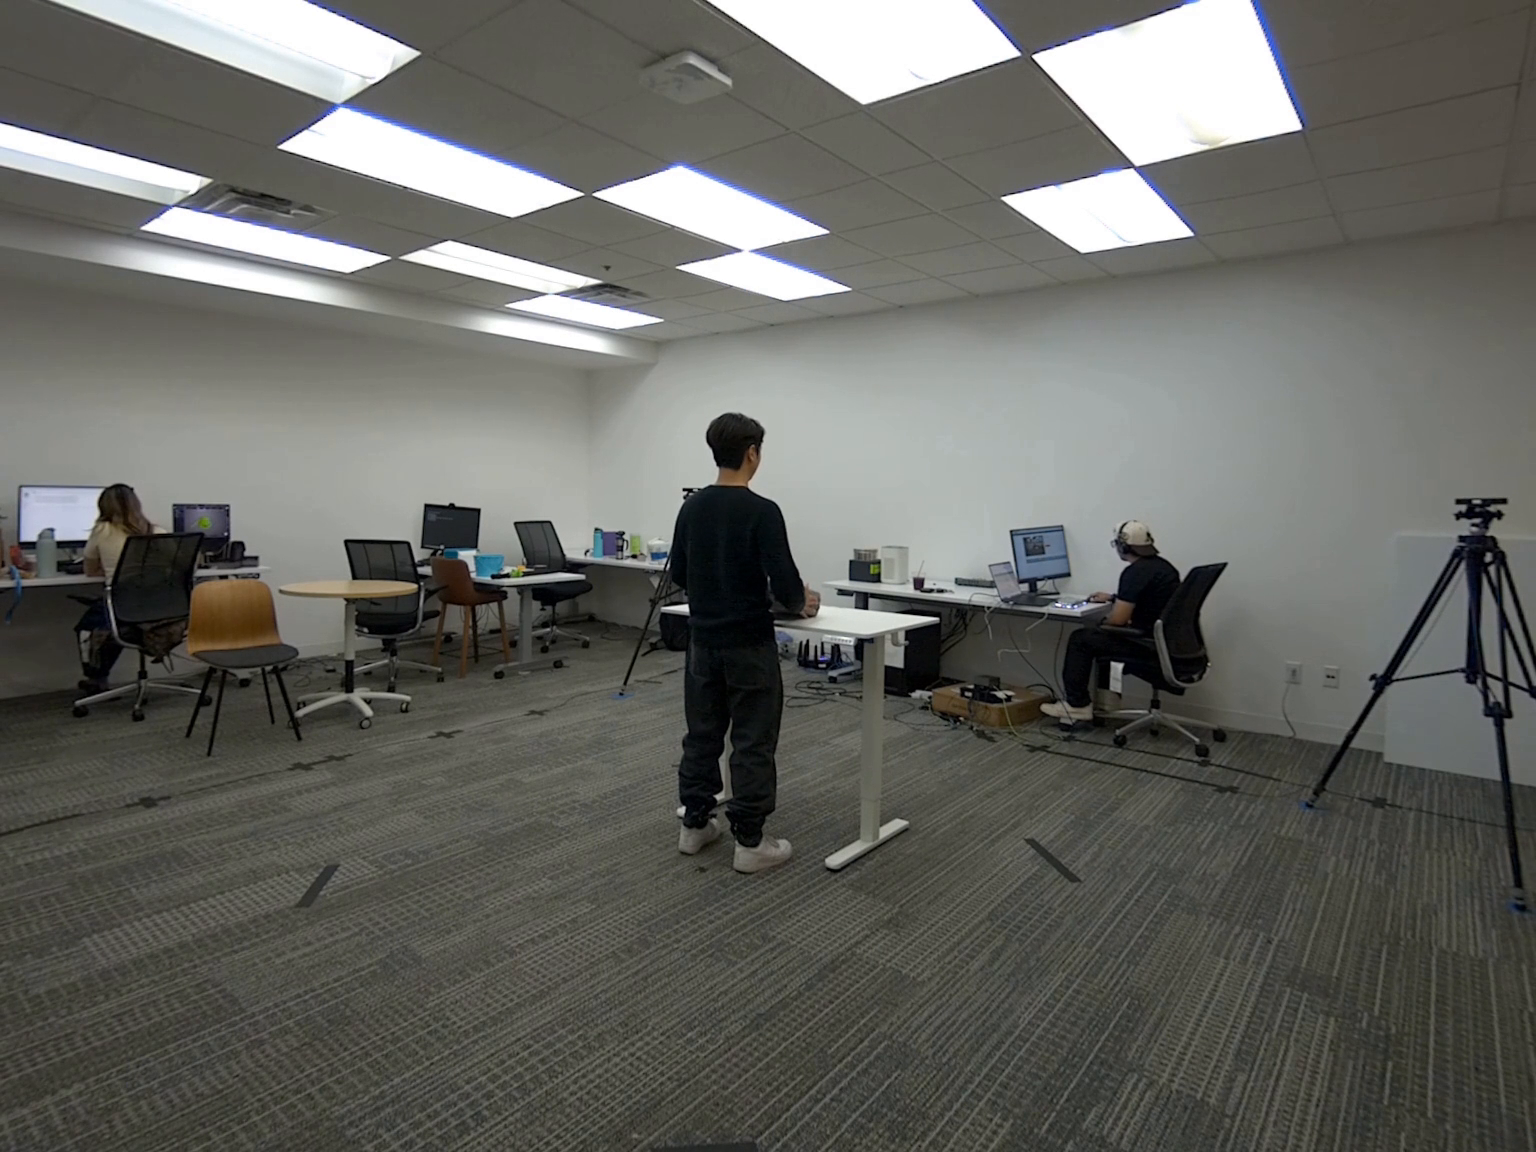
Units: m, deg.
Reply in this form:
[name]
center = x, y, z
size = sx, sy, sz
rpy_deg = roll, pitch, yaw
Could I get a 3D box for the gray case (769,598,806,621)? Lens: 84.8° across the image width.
[gray case]
center = 0.041, 0.085, 3.440
size = 0.265, 0.105, 0.251
rpy_deg = 3, -8, 35
